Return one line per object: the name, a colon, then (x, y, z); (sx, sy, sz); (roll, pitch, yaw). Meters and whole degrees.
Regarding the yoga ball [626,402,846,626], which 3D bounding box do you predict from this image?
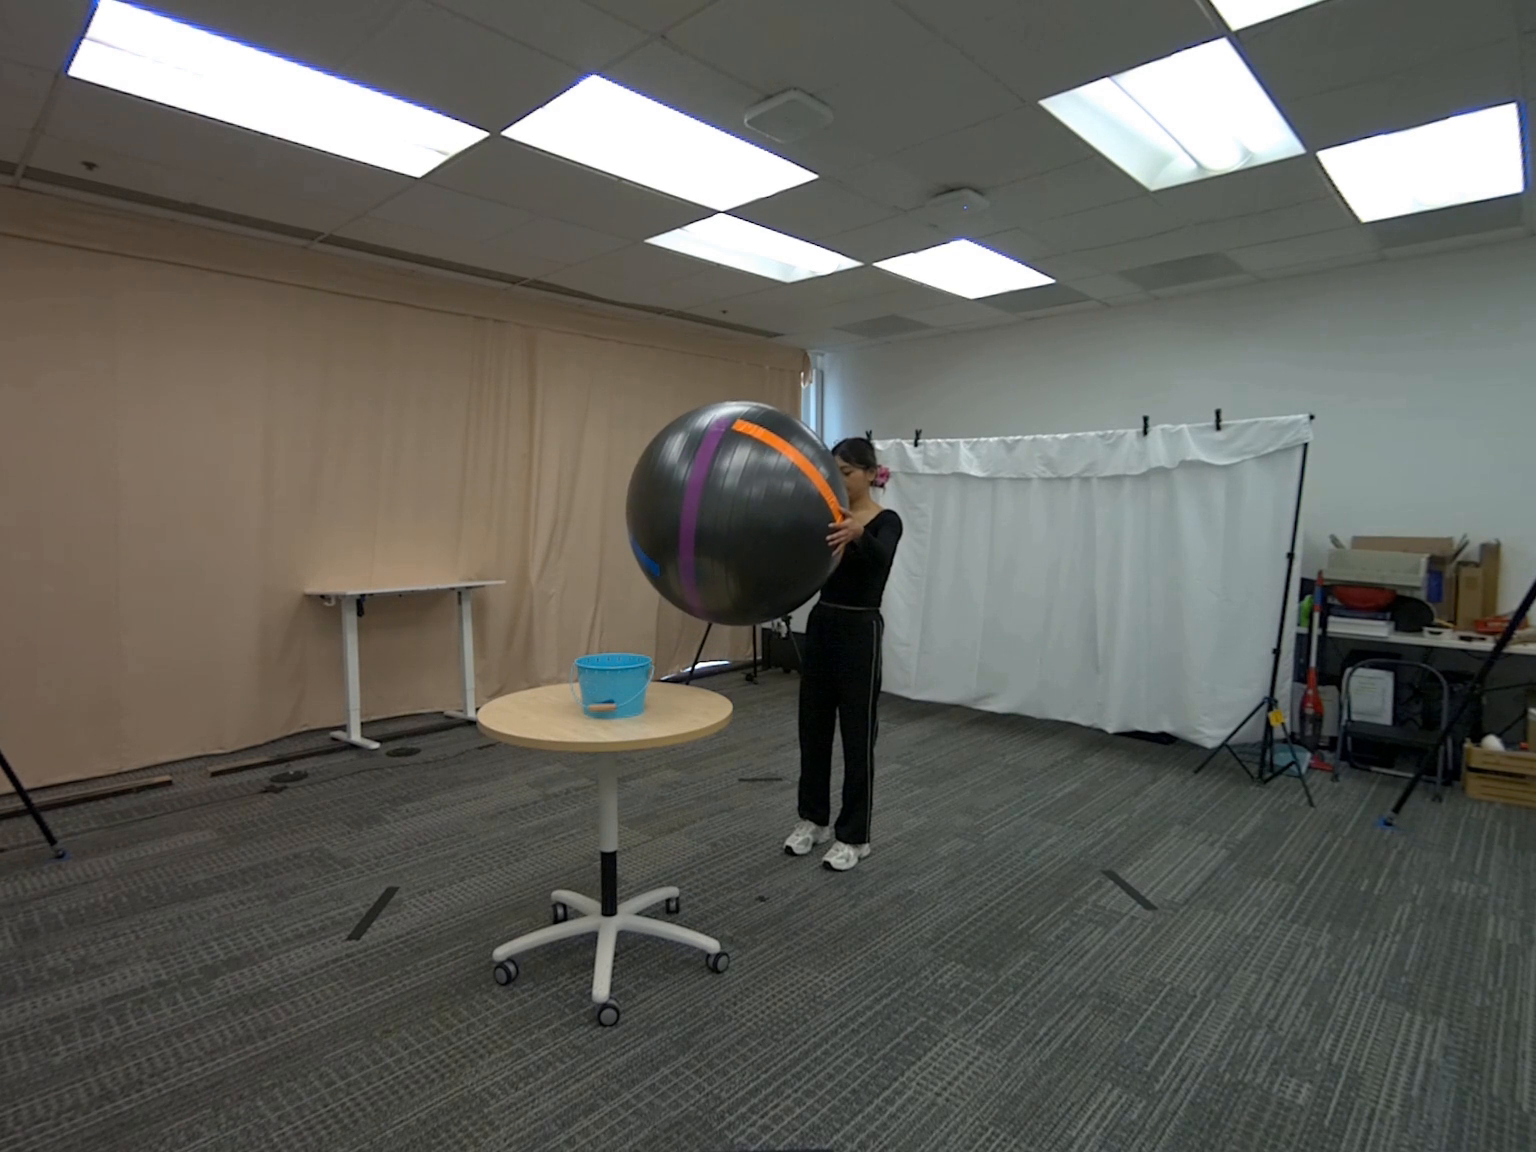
yoga ball: (-0.110, -0.204, 2.863); (0.757, 0.756, 0.760); (0, 4, -2)
